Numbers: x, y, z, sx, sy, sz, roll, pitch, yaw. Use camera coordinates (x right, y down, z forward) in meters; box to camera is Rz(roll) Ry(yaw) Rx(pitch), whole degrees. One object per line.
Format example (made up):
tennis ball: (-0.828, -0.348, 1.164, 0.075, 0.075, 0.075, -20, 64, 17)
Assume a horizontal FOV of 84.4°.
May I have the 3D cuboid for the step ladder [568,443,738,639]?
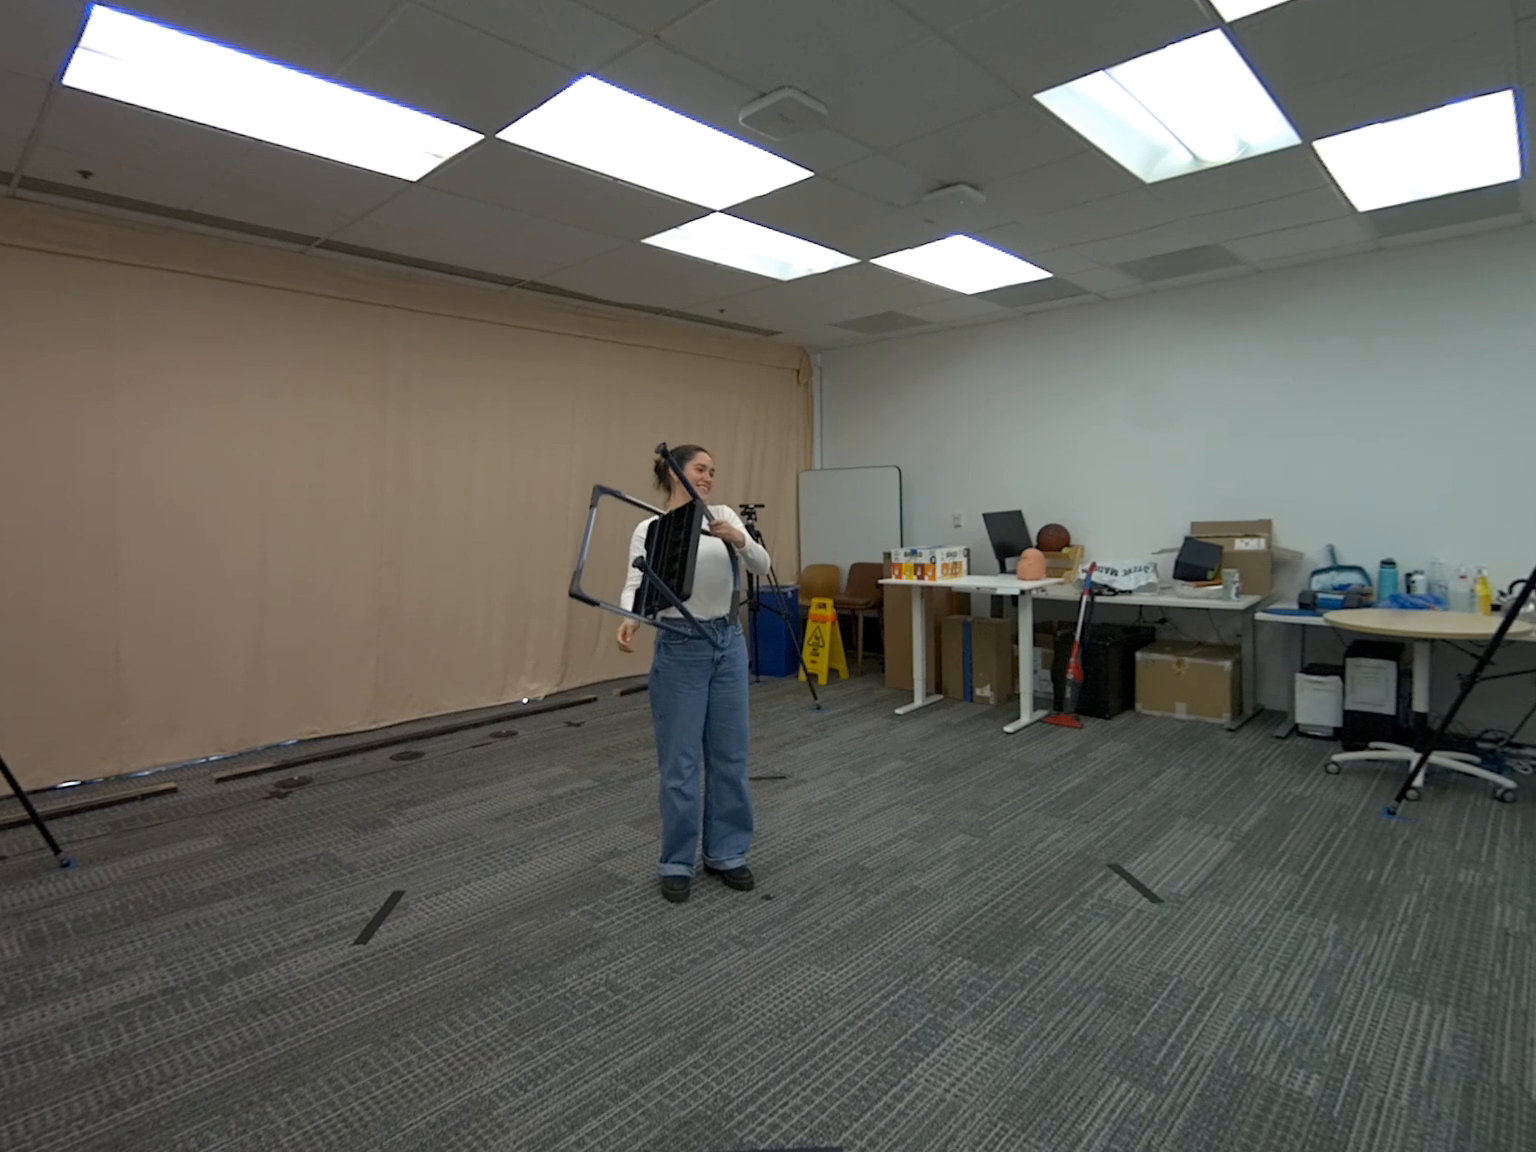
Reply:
step ladder: (-0.242, -0.027, 2.653, 0.357, 0.436, 0.585, -22, -42, 38)
